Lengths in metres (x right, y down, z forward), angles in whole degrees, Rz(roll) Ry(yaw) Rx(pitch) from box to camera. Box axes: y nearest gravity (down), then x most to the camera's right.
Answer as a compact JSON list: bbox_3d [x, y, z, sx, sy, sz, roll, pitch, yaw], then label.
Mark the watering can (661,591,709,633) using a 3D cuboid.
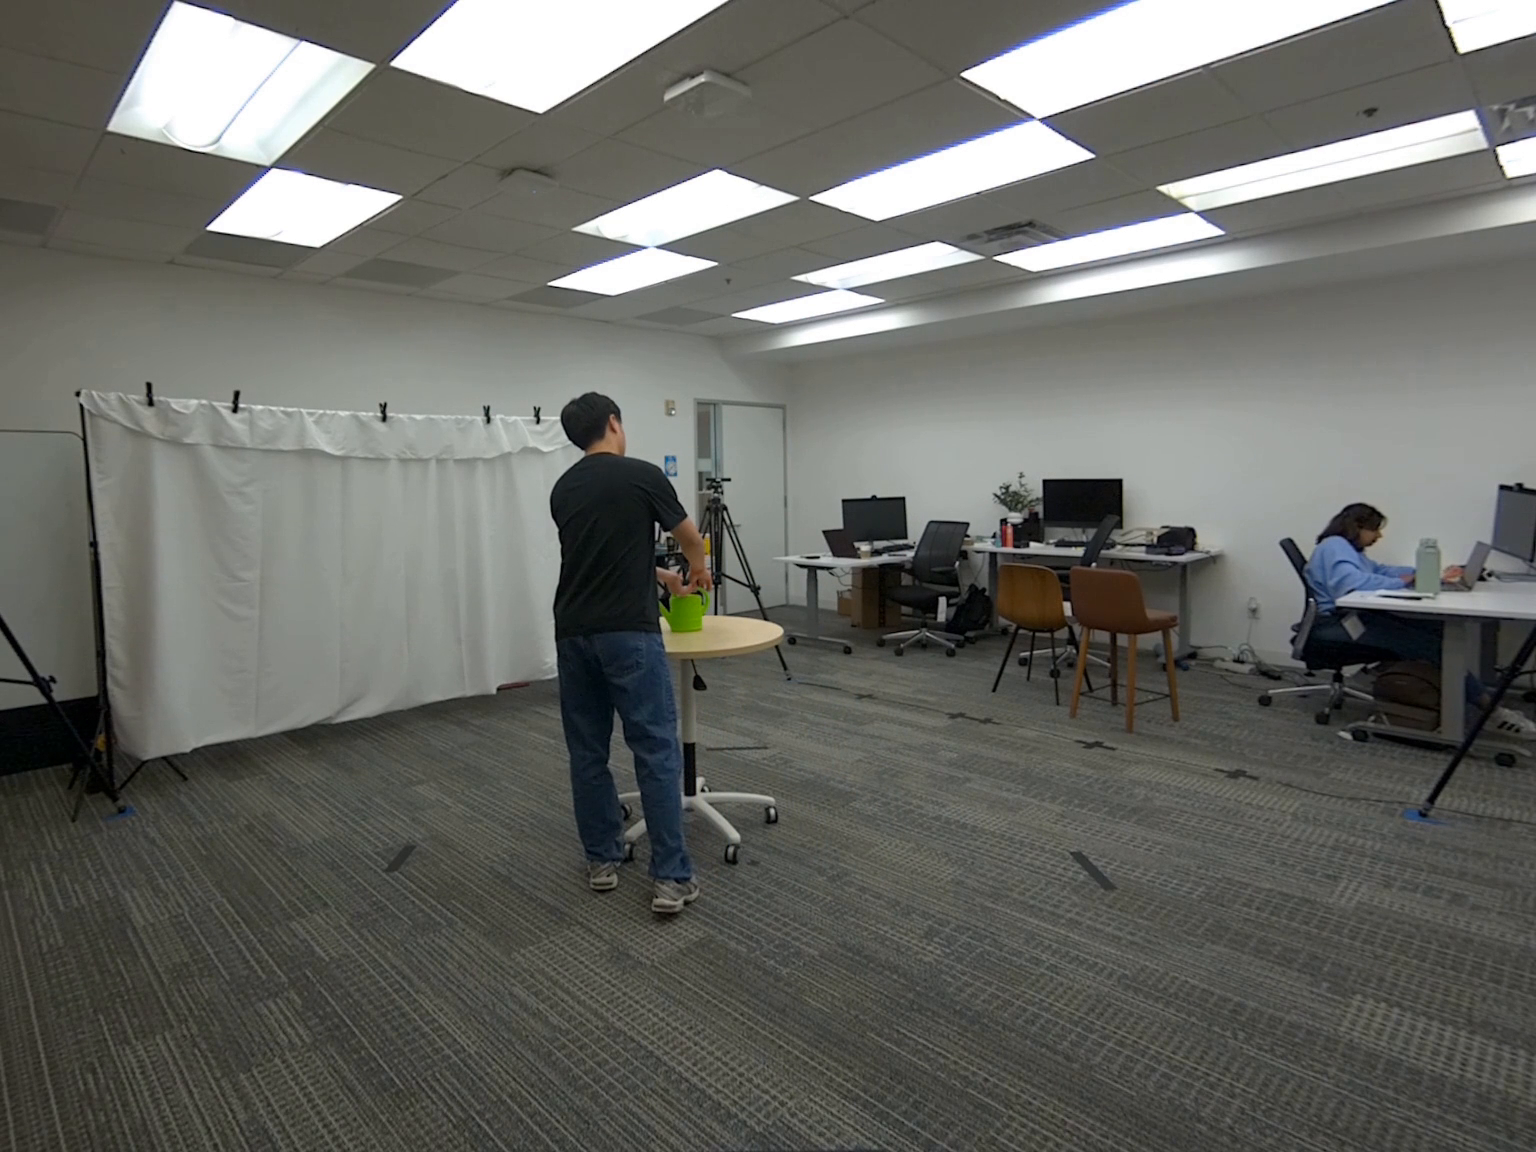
[{"bbox_3d":[-0.367,0.132,3.405,0.278,0.176,0.098,-1,6,0],"label":"watering can"}]
